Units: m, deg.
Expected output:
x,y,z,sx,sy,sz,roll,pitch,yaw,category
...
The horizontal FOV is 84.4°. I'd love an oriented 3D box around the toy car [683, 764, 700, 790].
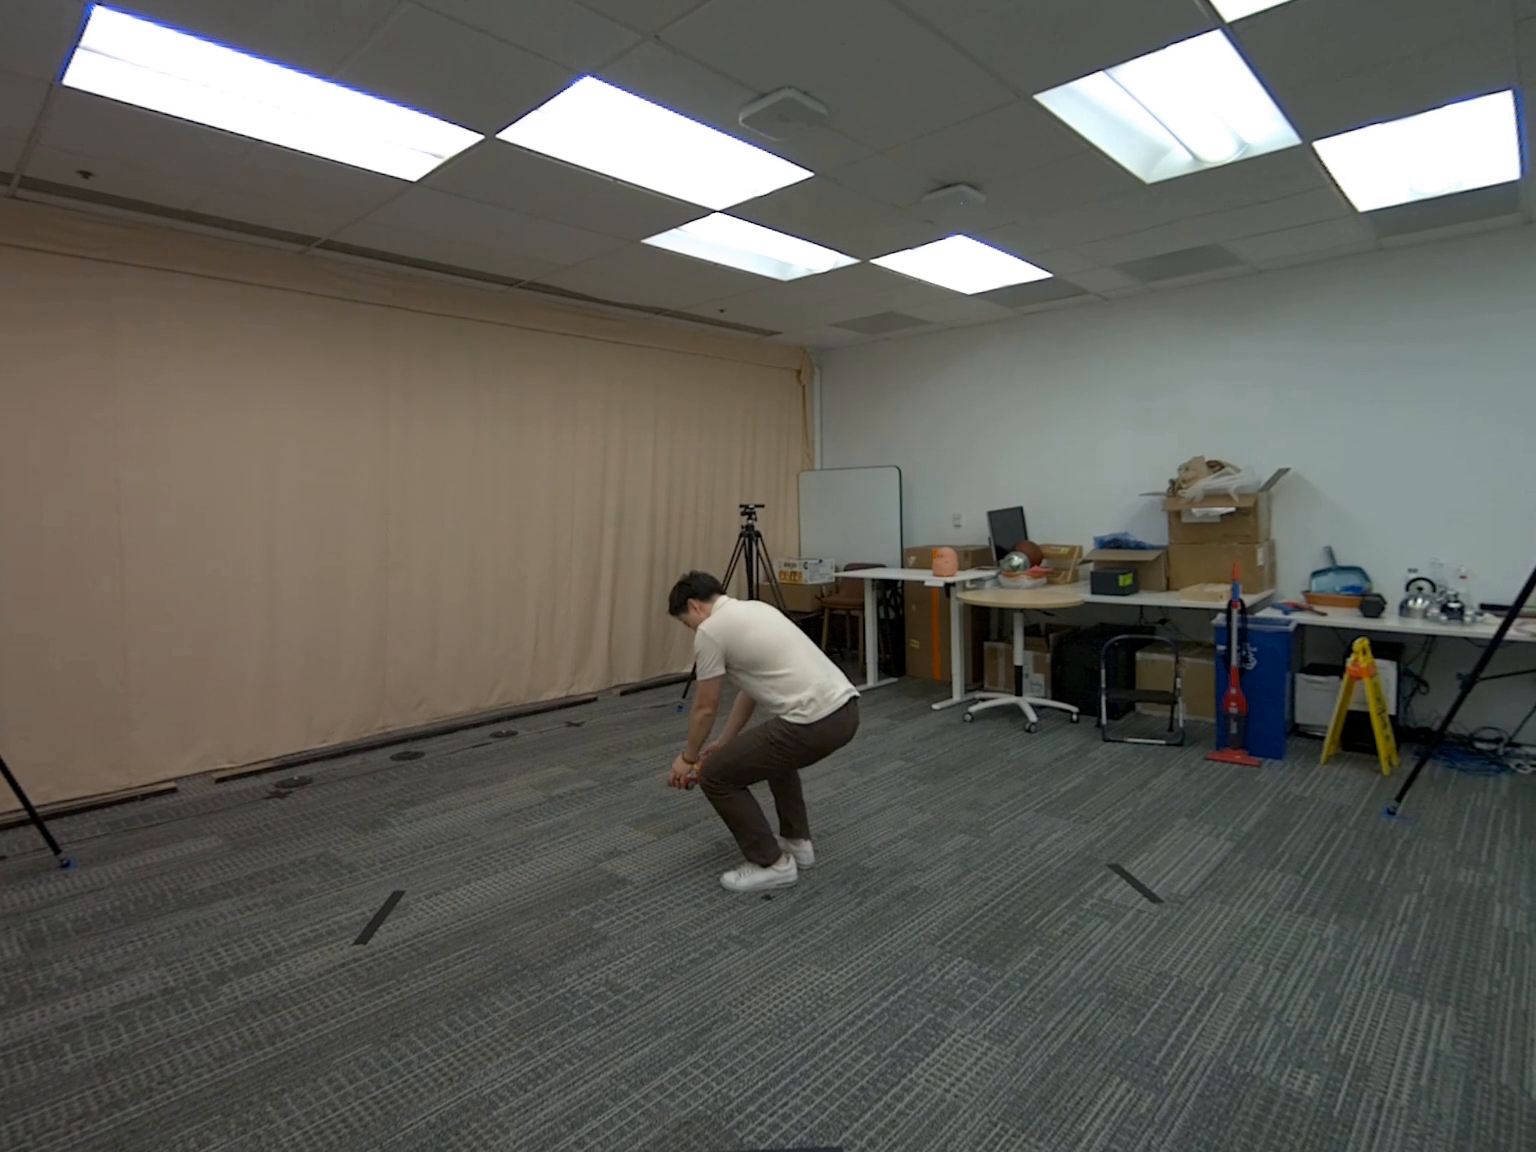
x,y,z,sx,sy,sz,roll,pitch,yaw,category
-0.286,0.806,3.396,0.134,0.082,0.249,0,13,36,toy car
